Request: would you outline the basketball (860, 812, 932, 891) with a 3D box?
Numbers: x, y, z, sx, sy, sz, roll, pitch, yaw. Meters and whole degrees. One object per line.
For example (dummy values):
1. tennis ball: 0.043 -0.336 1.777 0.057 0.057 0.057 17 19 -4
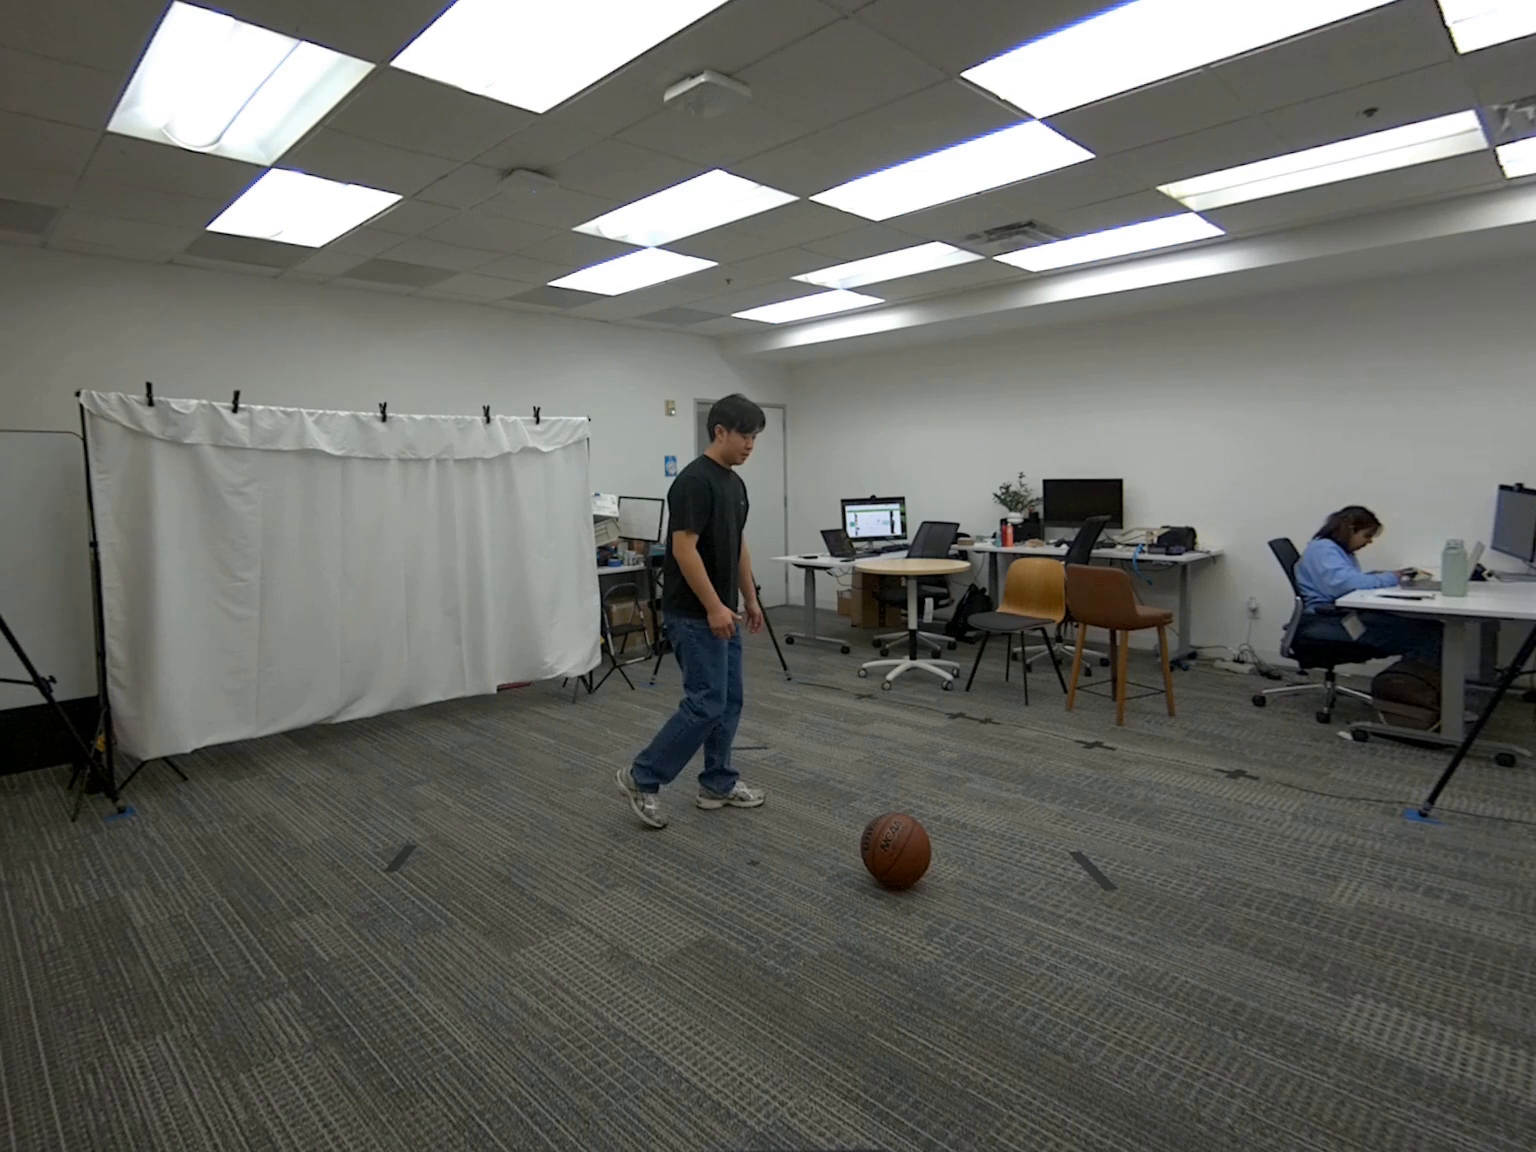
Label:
1. basketball: 0.443 0.932 2.922 0.236 0.235 0.237 -1 5 -2
